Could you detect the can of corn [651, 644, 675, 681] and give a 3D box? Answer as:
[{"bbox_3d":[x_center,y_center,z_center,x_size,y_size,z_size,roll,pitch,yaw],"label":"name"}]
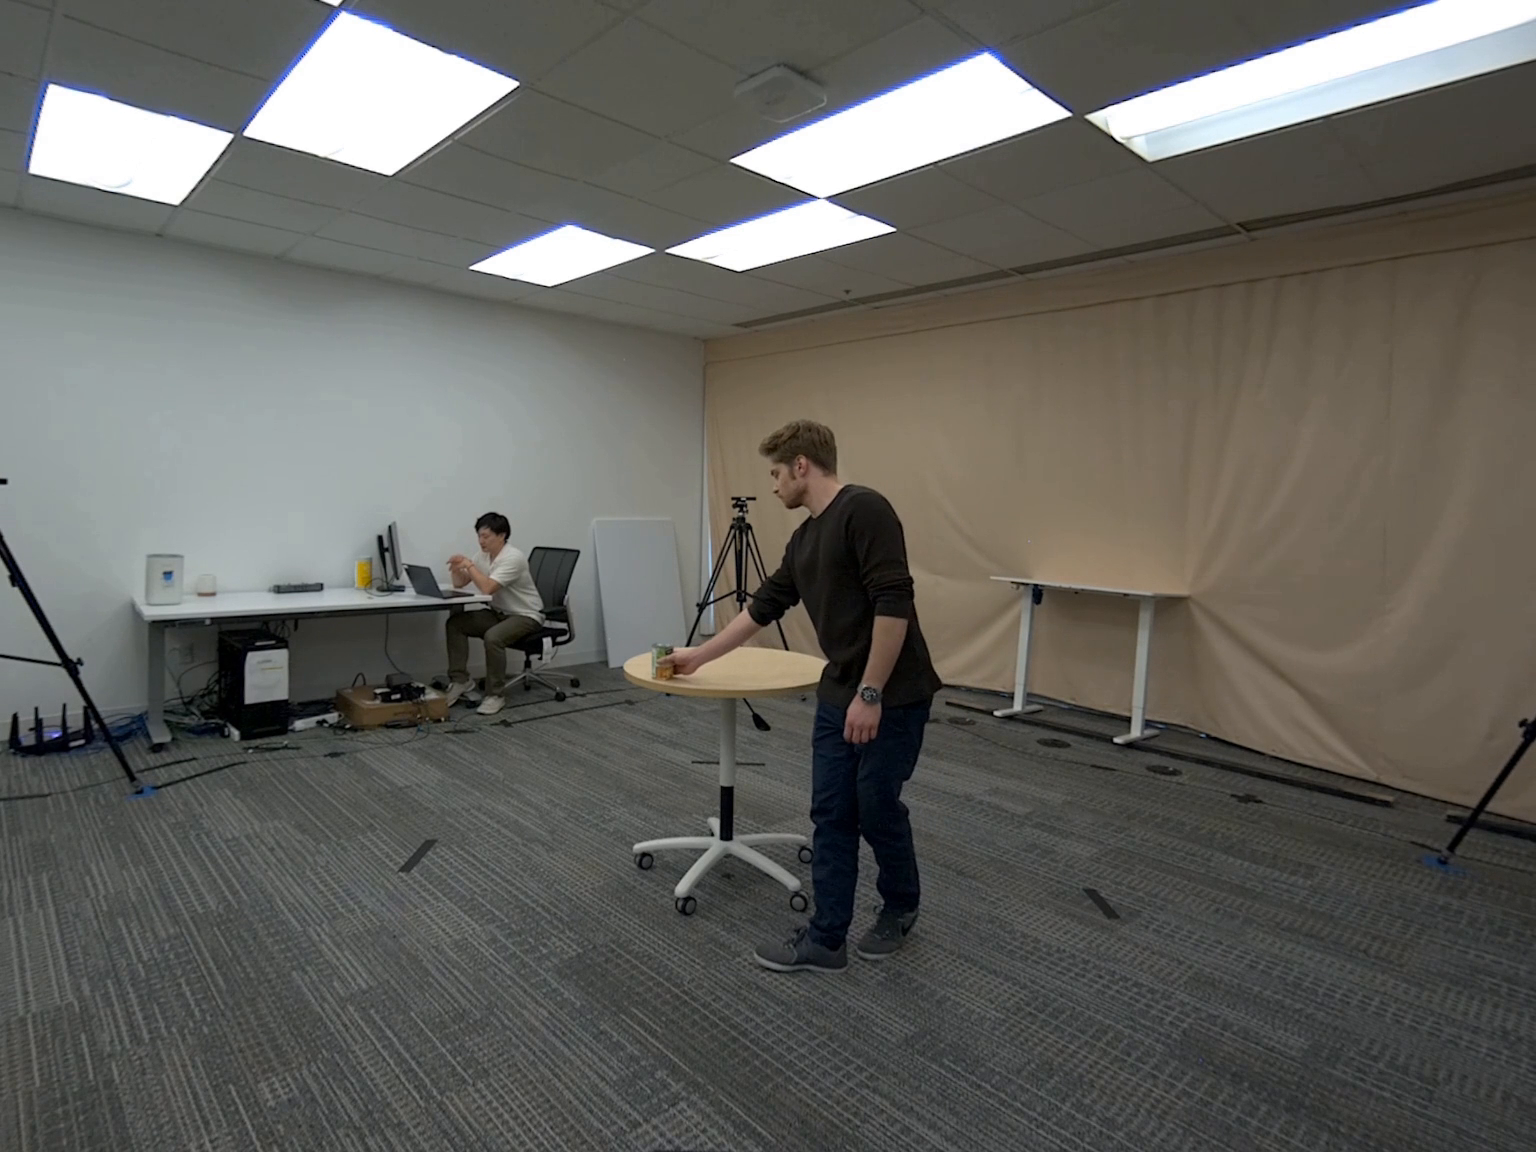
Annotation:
[{"bbox_3d":[-0.355,0.289,2.827,0.074,0.111,0.074,0,4,-1],"label":"can of corn"}]
